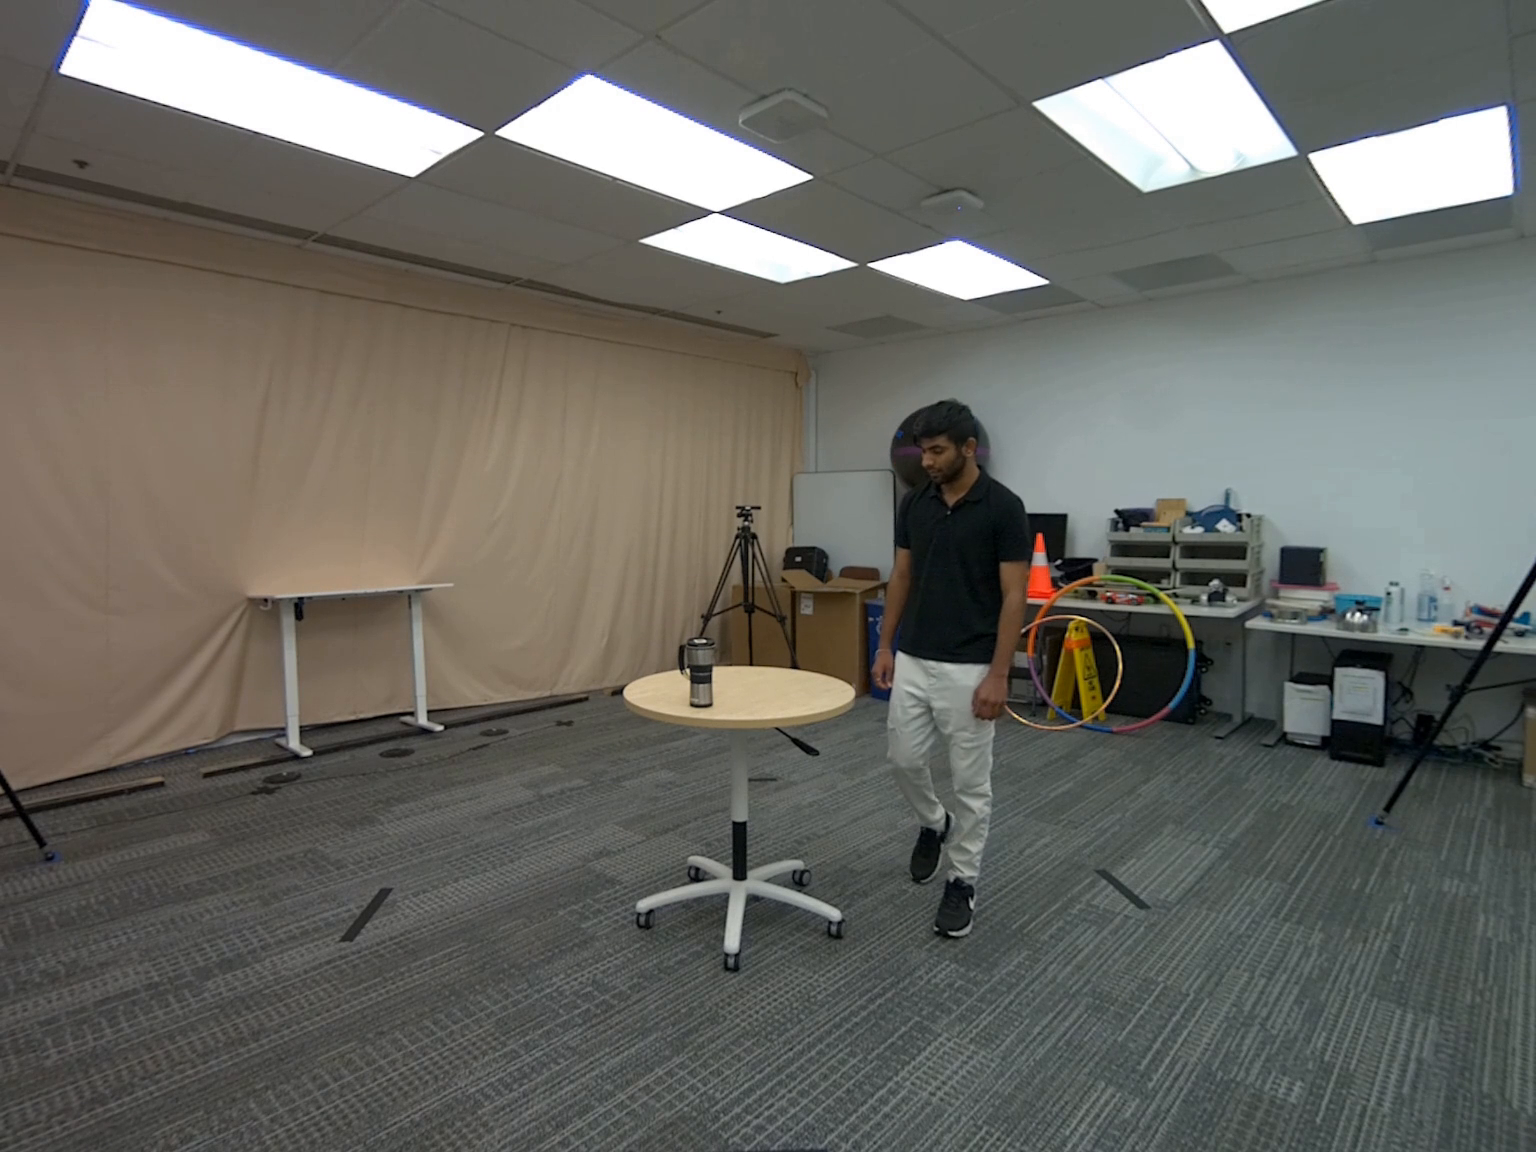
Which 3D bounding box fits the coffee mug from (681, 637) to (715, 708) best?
[{"bbox_3d":[-0.209,0.298,2.595,0.086,0.202,0.125,-5,7,-29],"label":"coffee mug"}]
